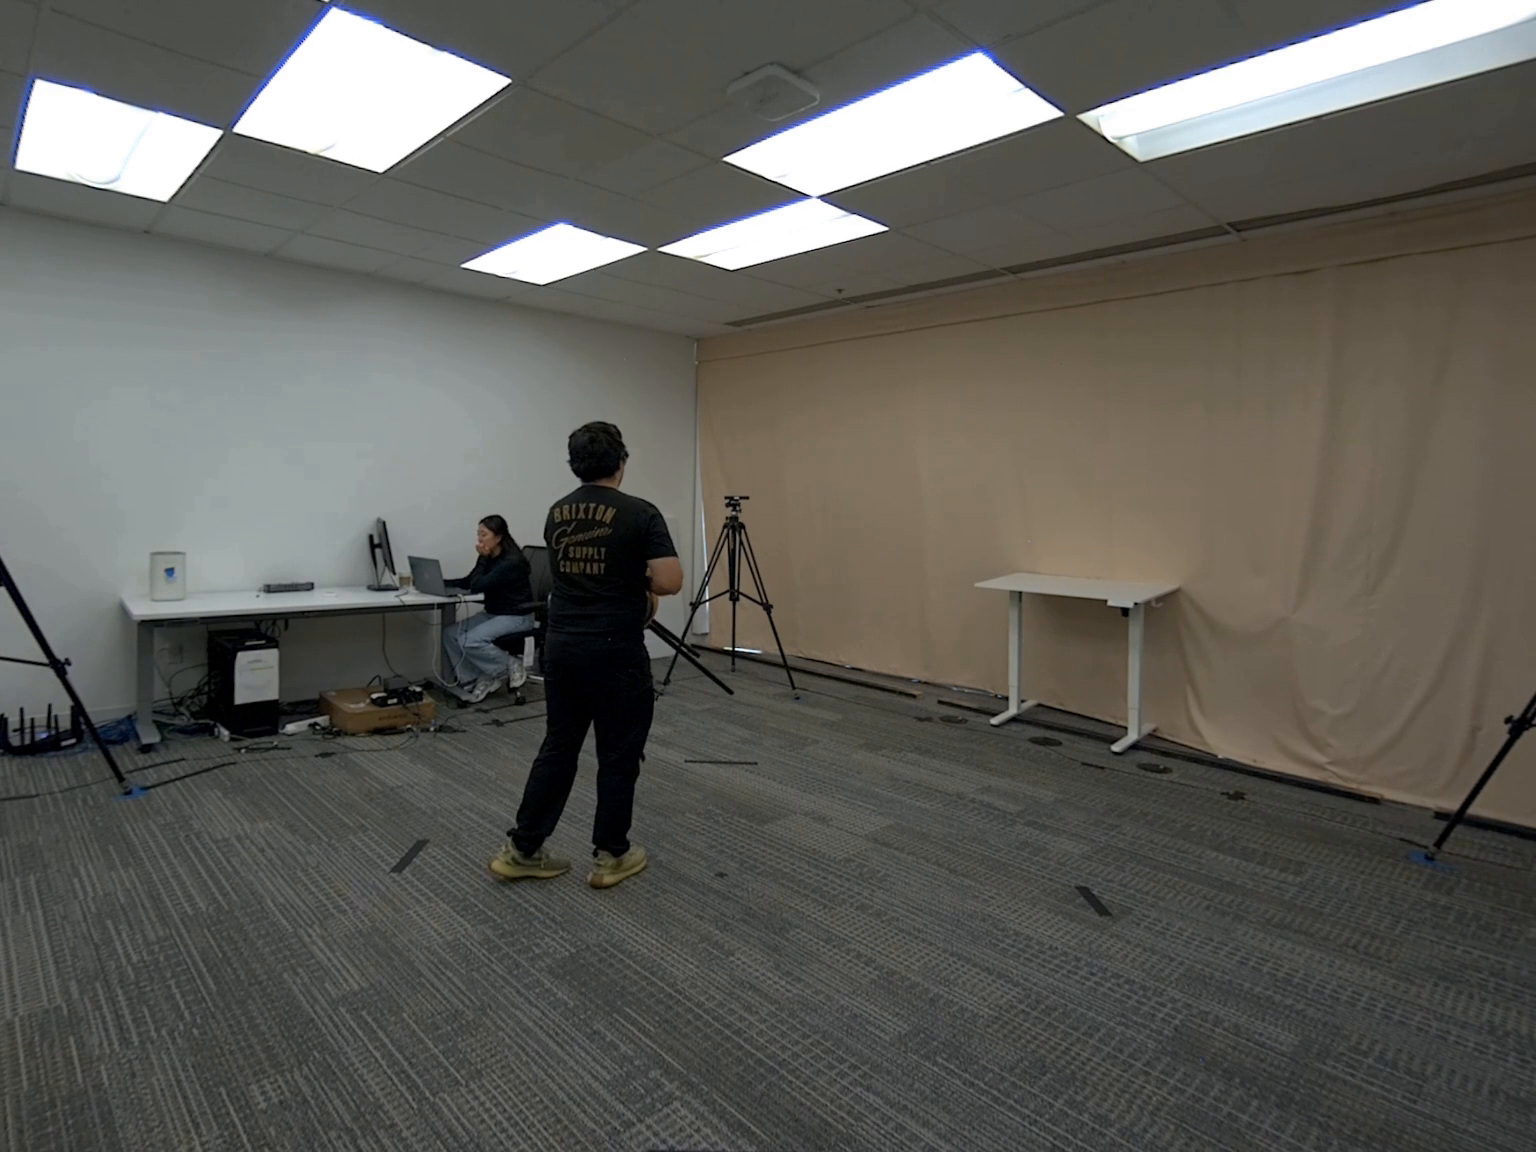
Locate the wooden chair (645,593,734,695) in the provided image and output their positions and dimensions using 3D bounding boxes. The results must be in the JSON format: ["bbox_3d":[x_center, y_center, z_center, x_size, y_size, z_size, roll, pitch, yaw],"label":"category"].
[{"bbox_3d":[-0.614,0.228,3.414,0.521,0.859,0.490,-31,22,-11],"label":"wooden chair"}]
